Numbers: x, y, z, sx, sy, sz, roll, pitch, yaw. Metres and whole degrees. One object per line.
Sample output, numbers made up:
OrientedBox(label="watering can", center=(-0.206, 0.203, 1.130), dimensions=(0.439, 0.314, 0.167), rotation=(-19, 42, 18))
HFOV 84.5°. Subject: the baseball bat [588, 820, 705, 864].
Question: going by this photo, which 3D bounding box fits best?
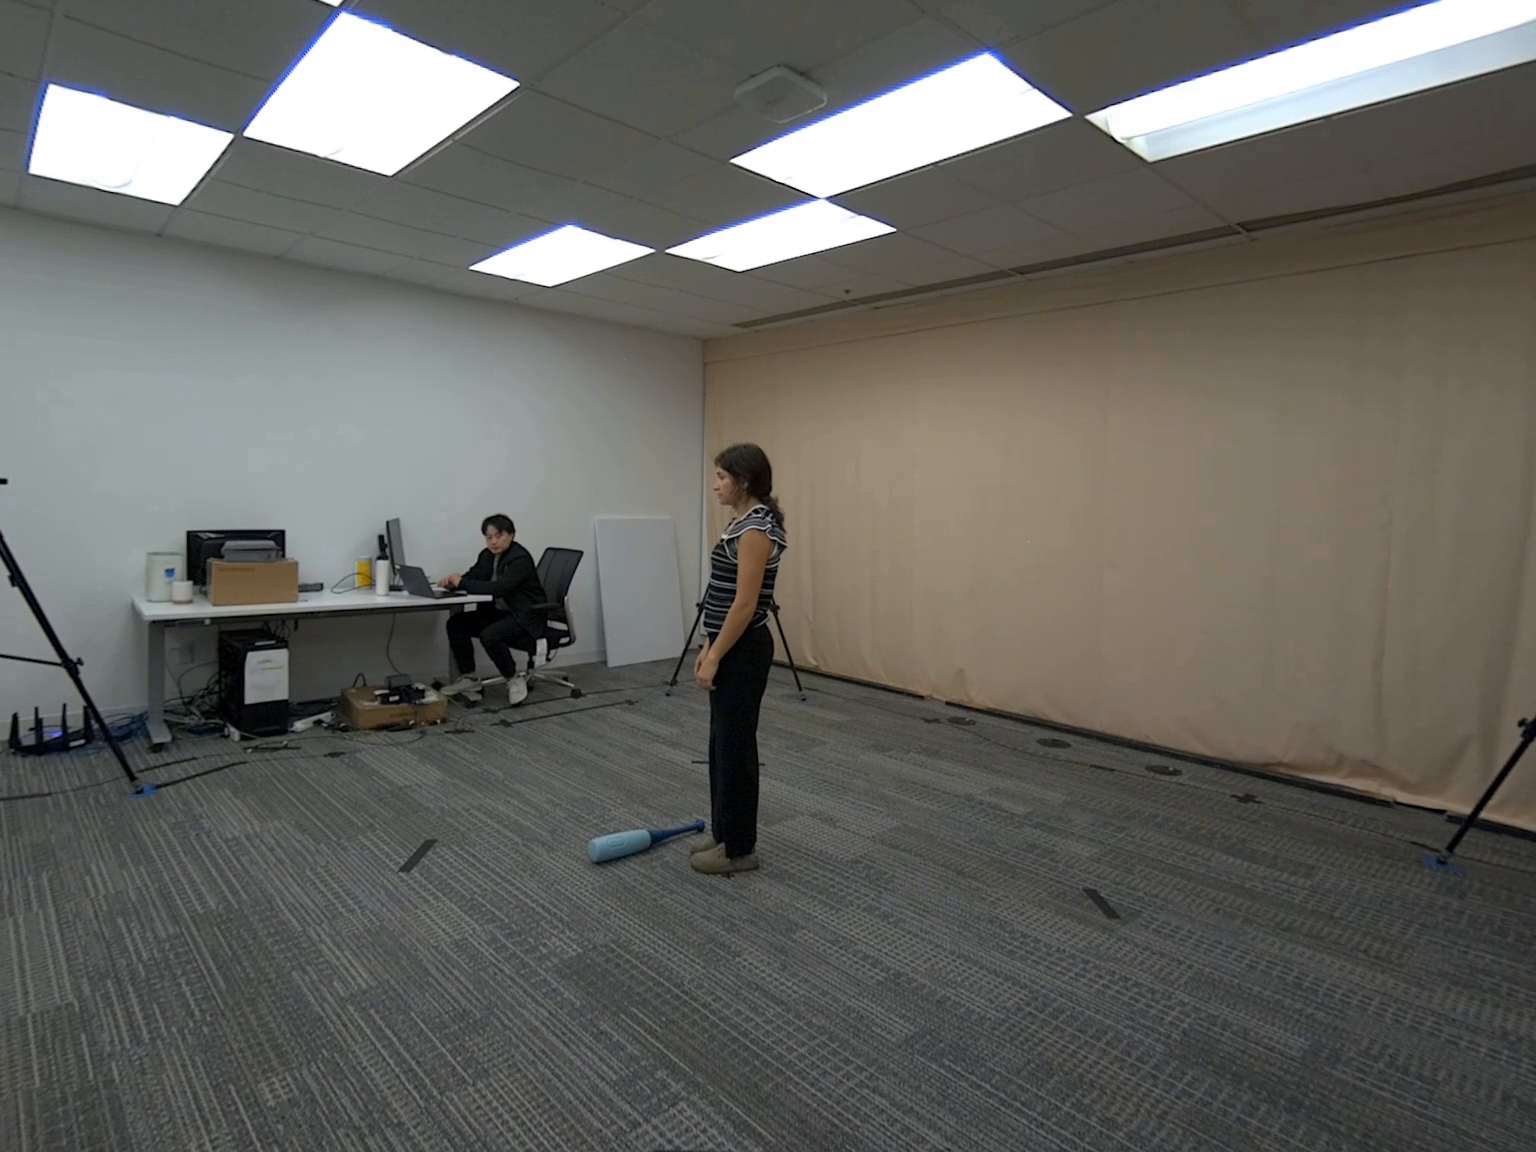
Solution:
OrientedBox(label="baseball bat", center=(-0.473, 1.042, 3.348), dimensions=(0.530, 0.089, 0.091), rotation=(2, 3, -43))
